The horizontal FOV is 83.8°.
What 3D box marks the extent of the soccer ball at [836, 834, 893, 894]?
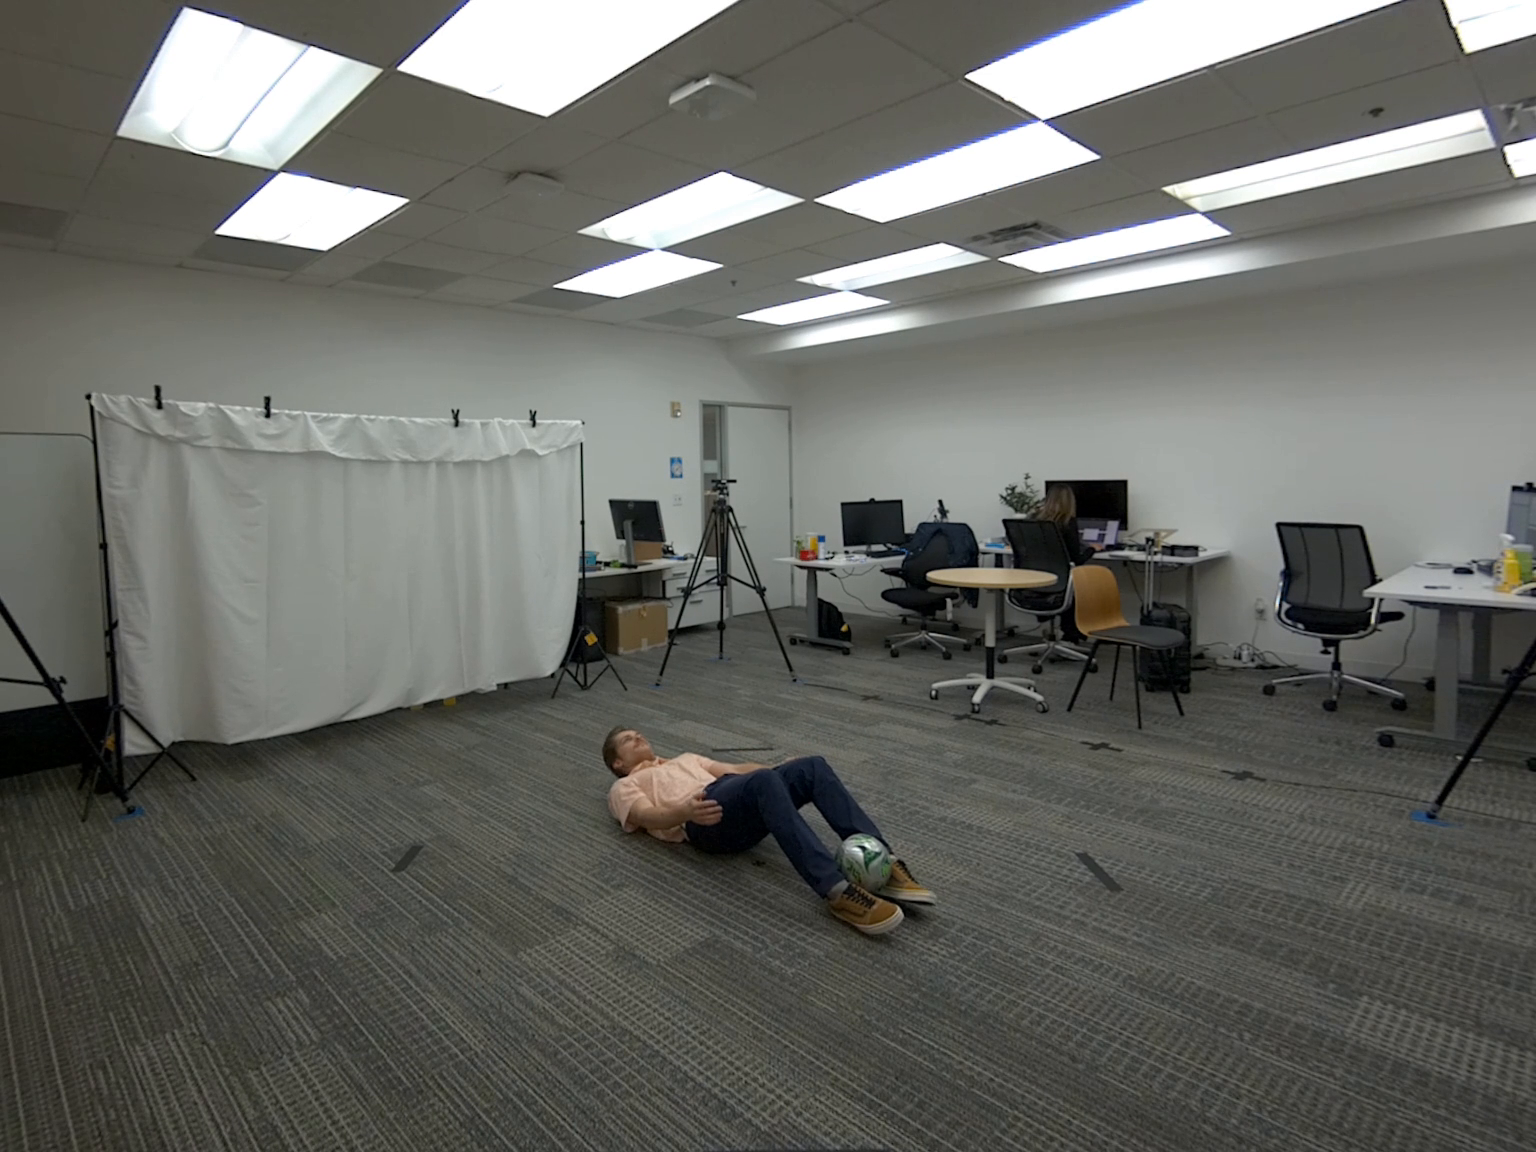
[{"bbox_3d":[0.296,0.940,2.778,0.187,0.187,0.188,-1,5,-2],"label":"soccer ball"}]
